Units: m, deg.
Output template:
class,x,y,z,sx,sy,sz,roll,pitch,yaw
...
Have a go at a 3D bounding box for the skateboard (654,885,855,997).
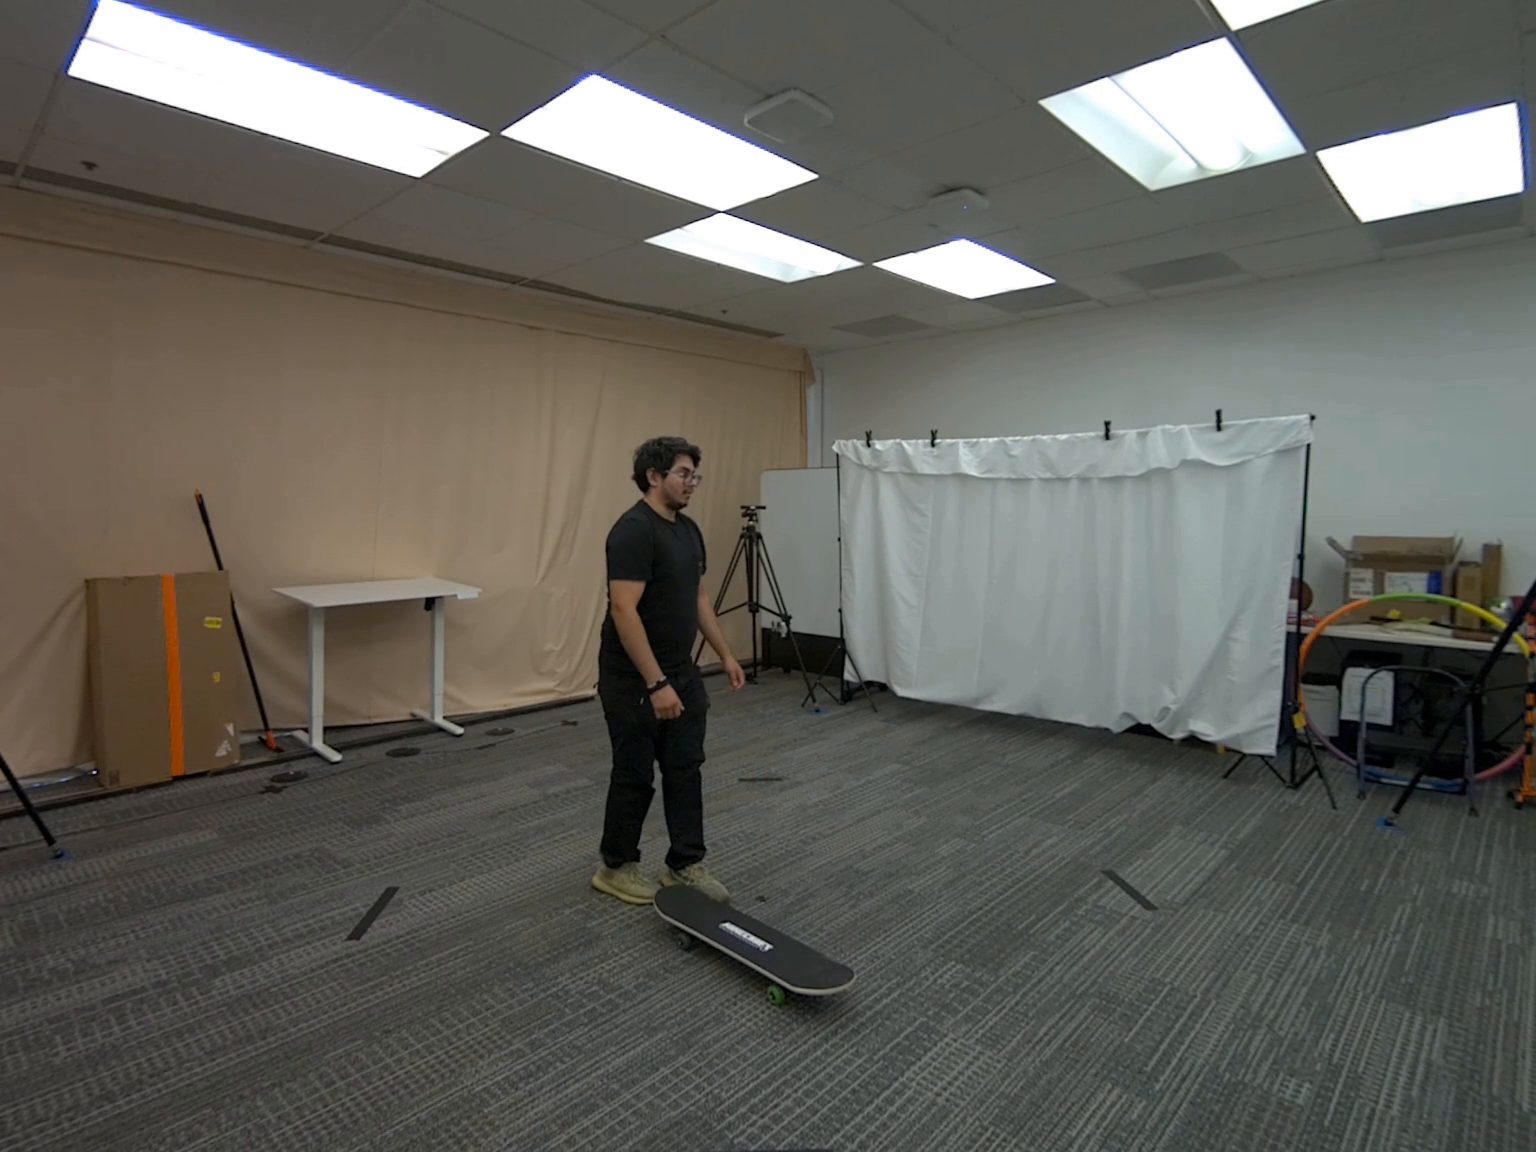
class,x,y,z,sx,sy,sz,roll,pitch,yaw
skateboard,-0.065,1.125,2.549,0.187,0.110,0.812,-4,6,-45
